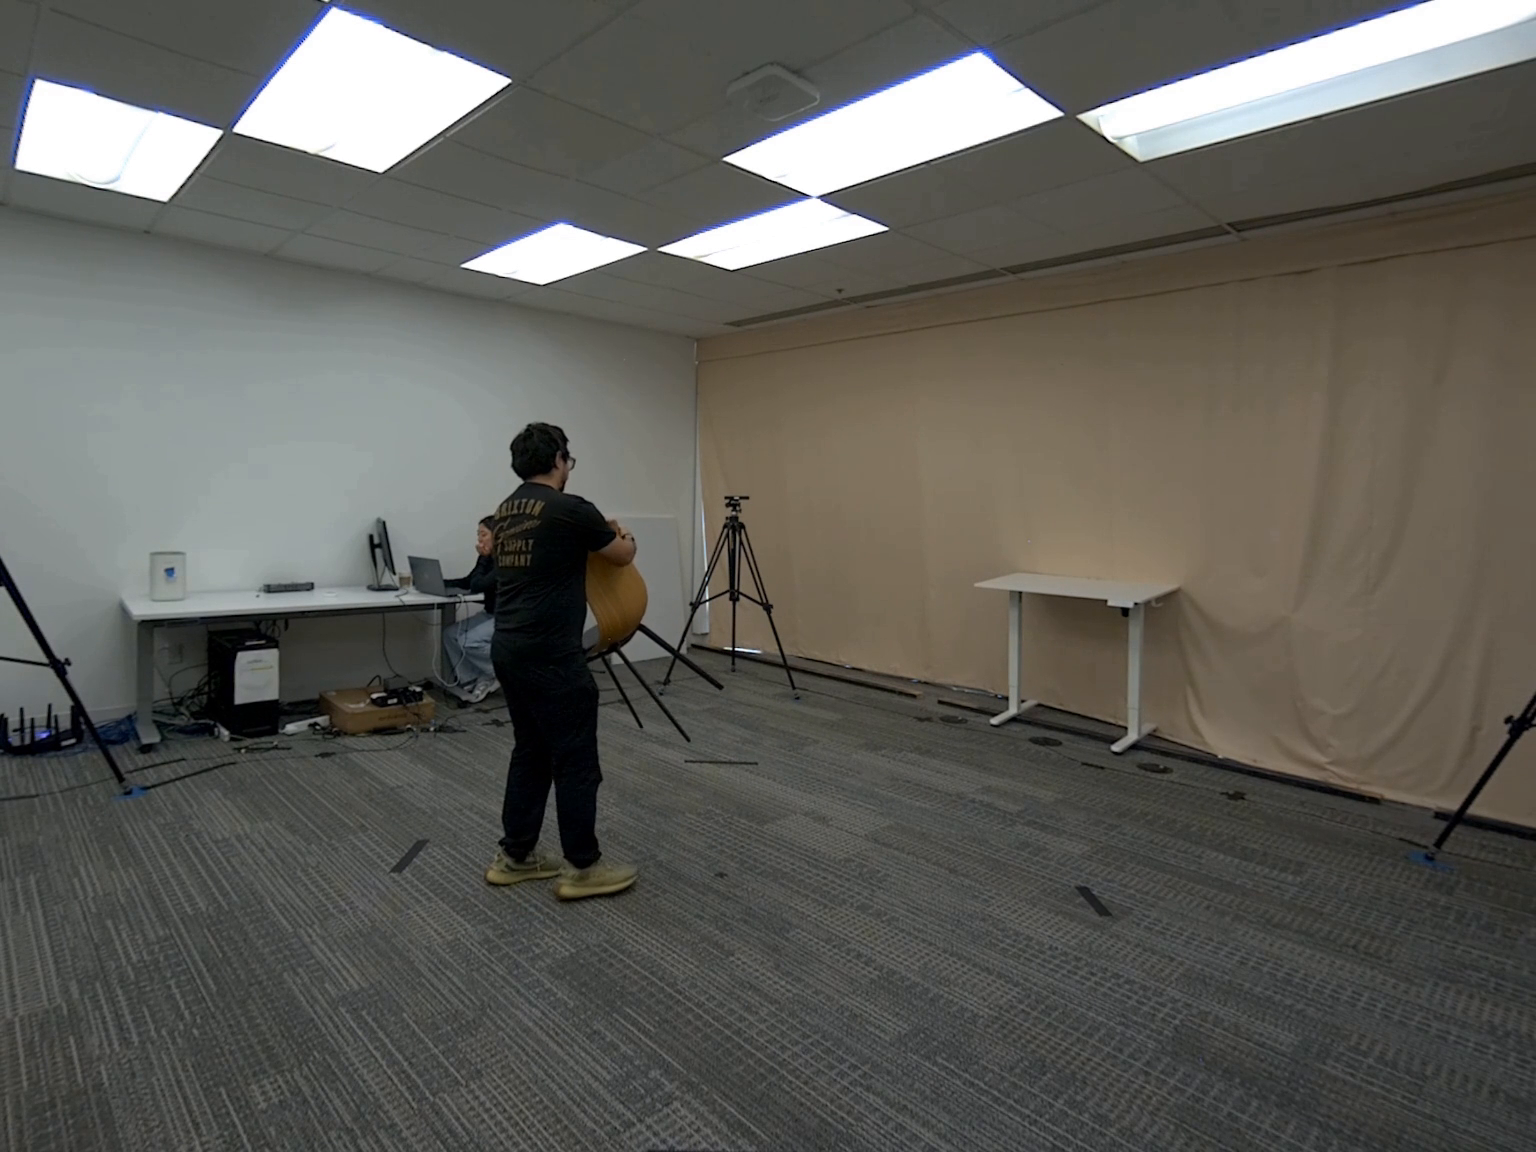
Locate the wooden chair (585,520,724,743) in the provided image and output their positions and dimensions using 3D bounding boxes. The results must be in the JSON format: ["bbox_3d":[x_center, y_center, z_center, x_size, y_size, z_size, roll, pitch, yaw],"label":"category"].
[{"bbox_3d":[-0.647,0.285,3.342,0.527,0.870,0.478,-25,9,21],"label":"wooden chair"}]
